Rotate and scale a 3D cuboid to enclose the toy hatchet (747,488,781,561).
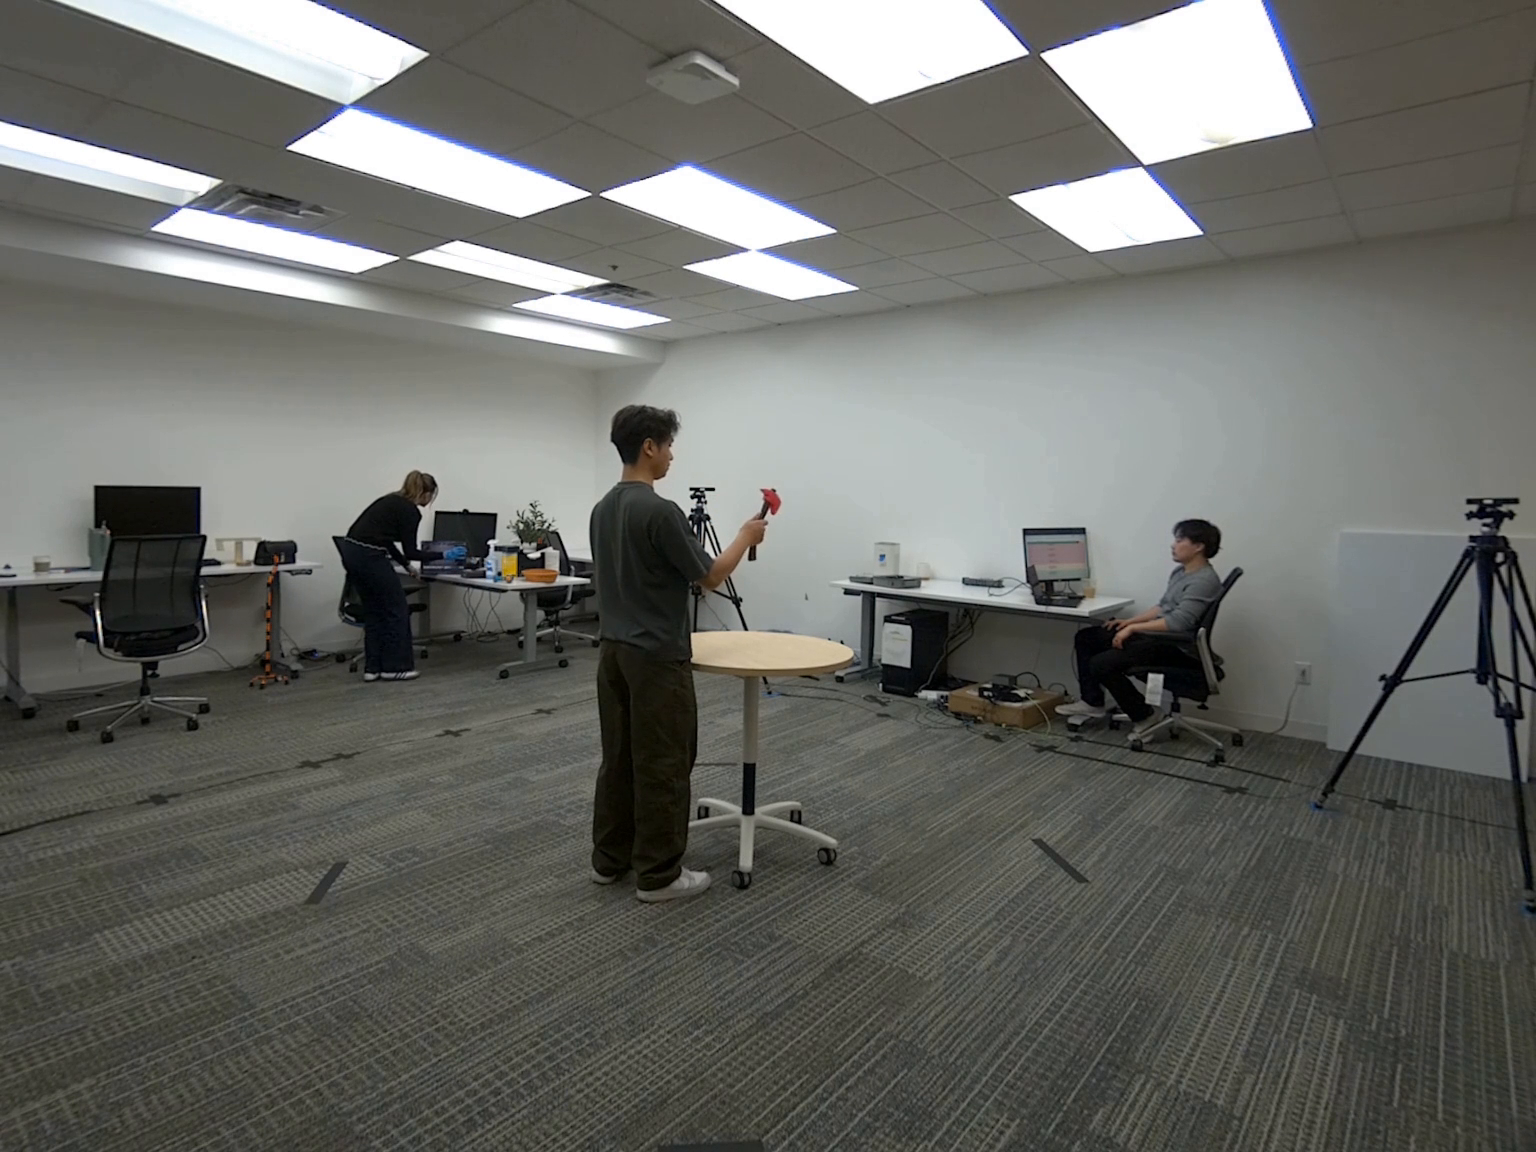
[{"bbox_3d":[-0.023,-0.187,3.097,0.031,0.270,0.126,14,3,36],"label":"toy hatchet"}]
